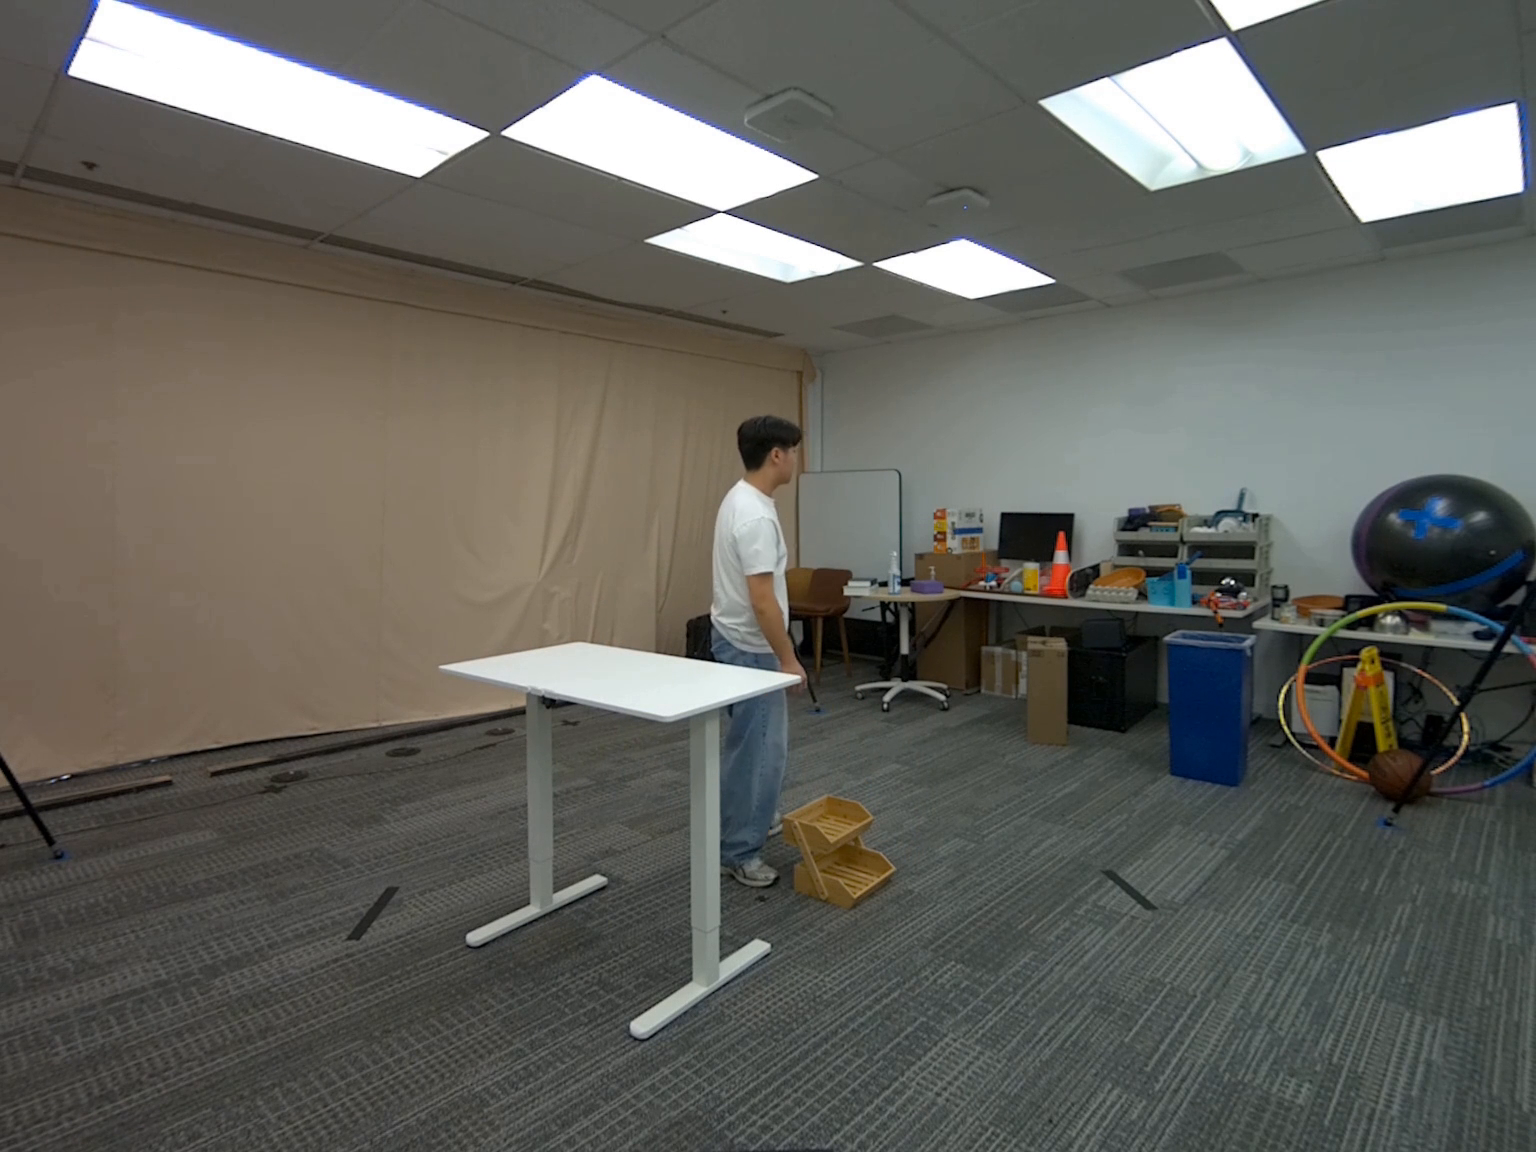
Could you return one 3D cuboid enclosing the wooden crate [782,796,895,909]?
[{"bbox_3d":[0.268,0.997,3.087,0.312,0.273,0.315,2,5,37],"label":"wooden crate"}]
